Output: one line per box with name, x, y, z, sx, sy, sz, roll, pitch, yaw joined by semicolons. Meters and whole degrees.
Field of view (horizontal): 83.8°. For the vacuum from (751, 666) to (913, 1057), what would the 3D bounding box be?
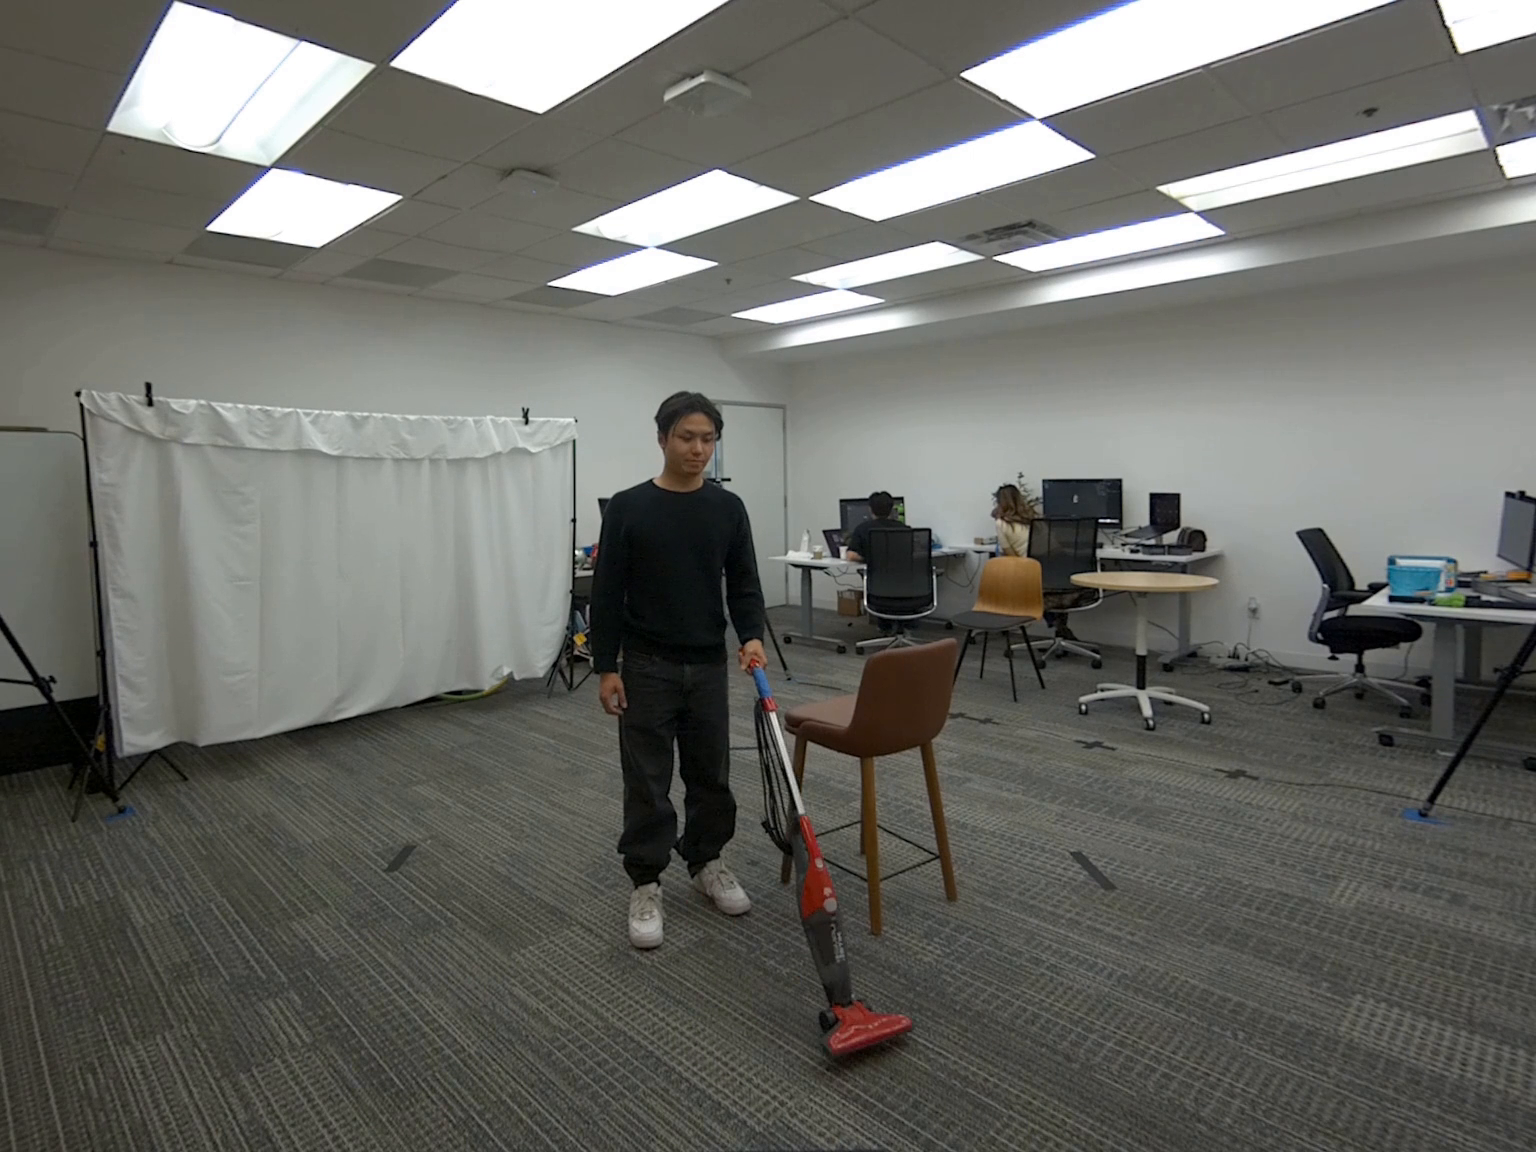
vacuum;0.078;0.688;2.353;0.247;1.080;0.143;-2;-32;-28
